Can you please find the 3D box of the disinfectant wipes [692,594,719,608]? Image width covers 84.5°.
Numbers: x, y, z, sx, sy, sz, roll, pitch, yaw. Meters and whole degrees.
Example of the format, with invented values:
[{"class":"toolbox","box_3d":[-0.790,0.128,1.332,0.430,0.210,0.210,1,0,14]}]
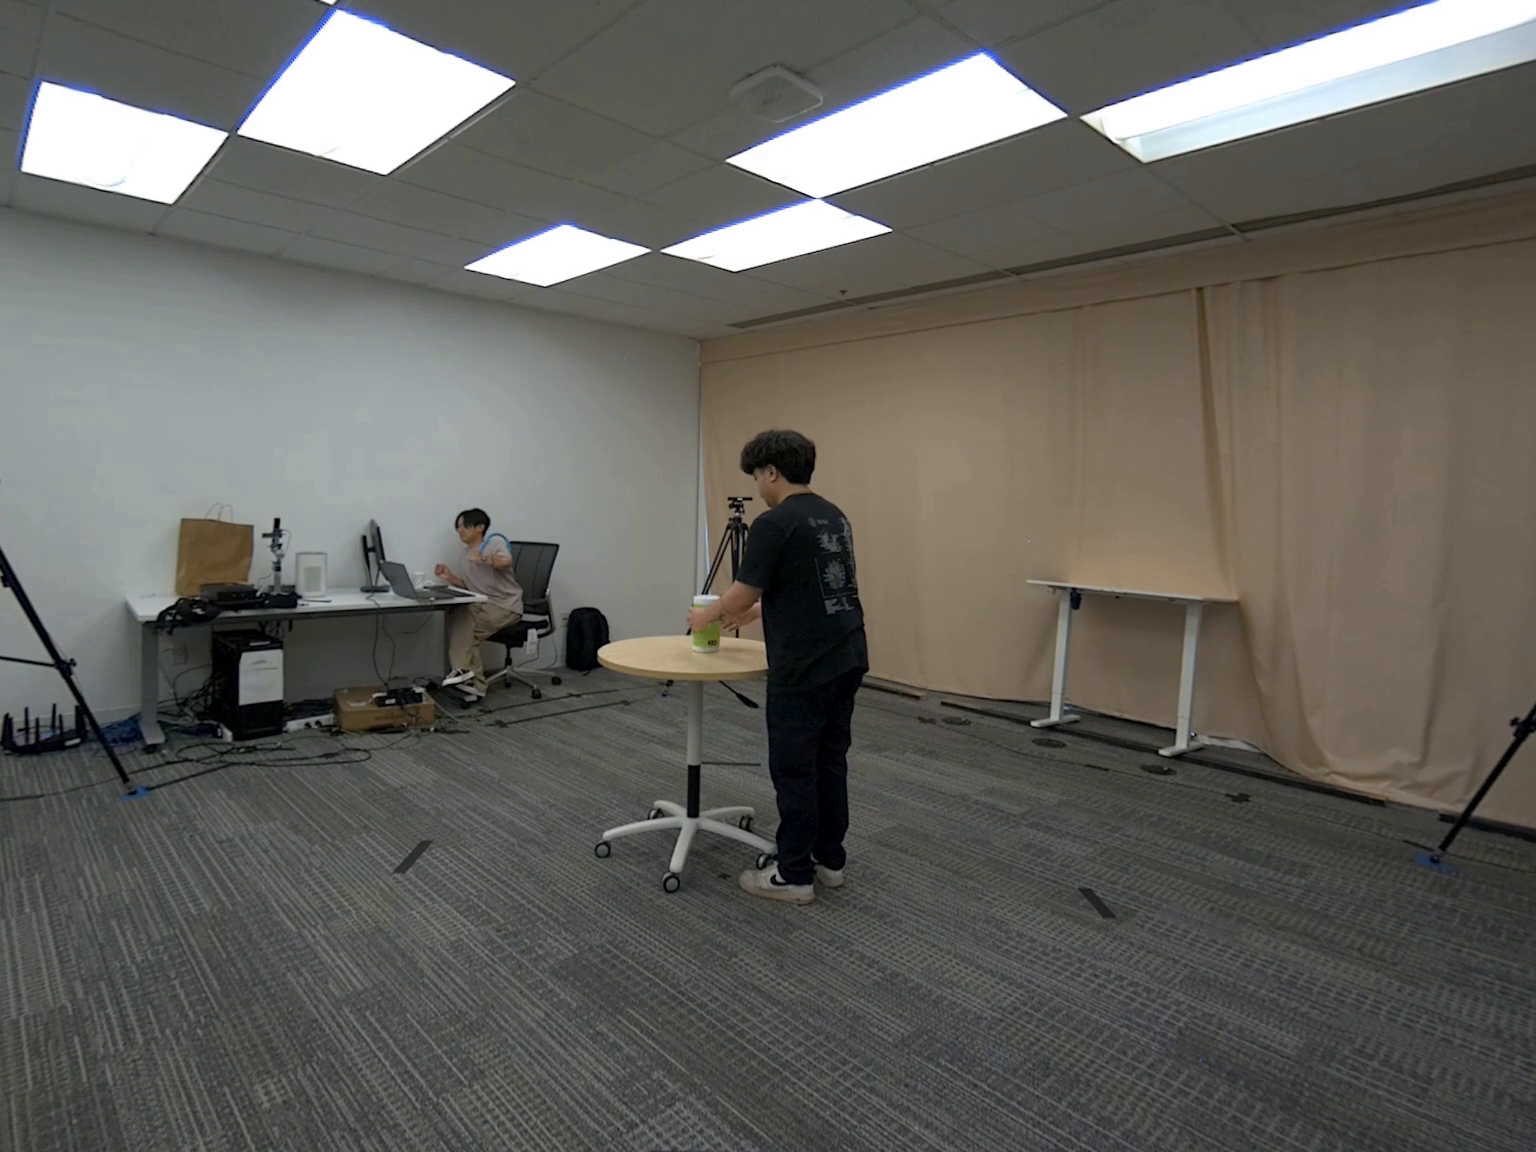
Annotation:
[{"class":"disinfectant wipes","box_3d":[-0.255,0.191,3.313,0.118,0.217,0.118,1,2,-1]}]
